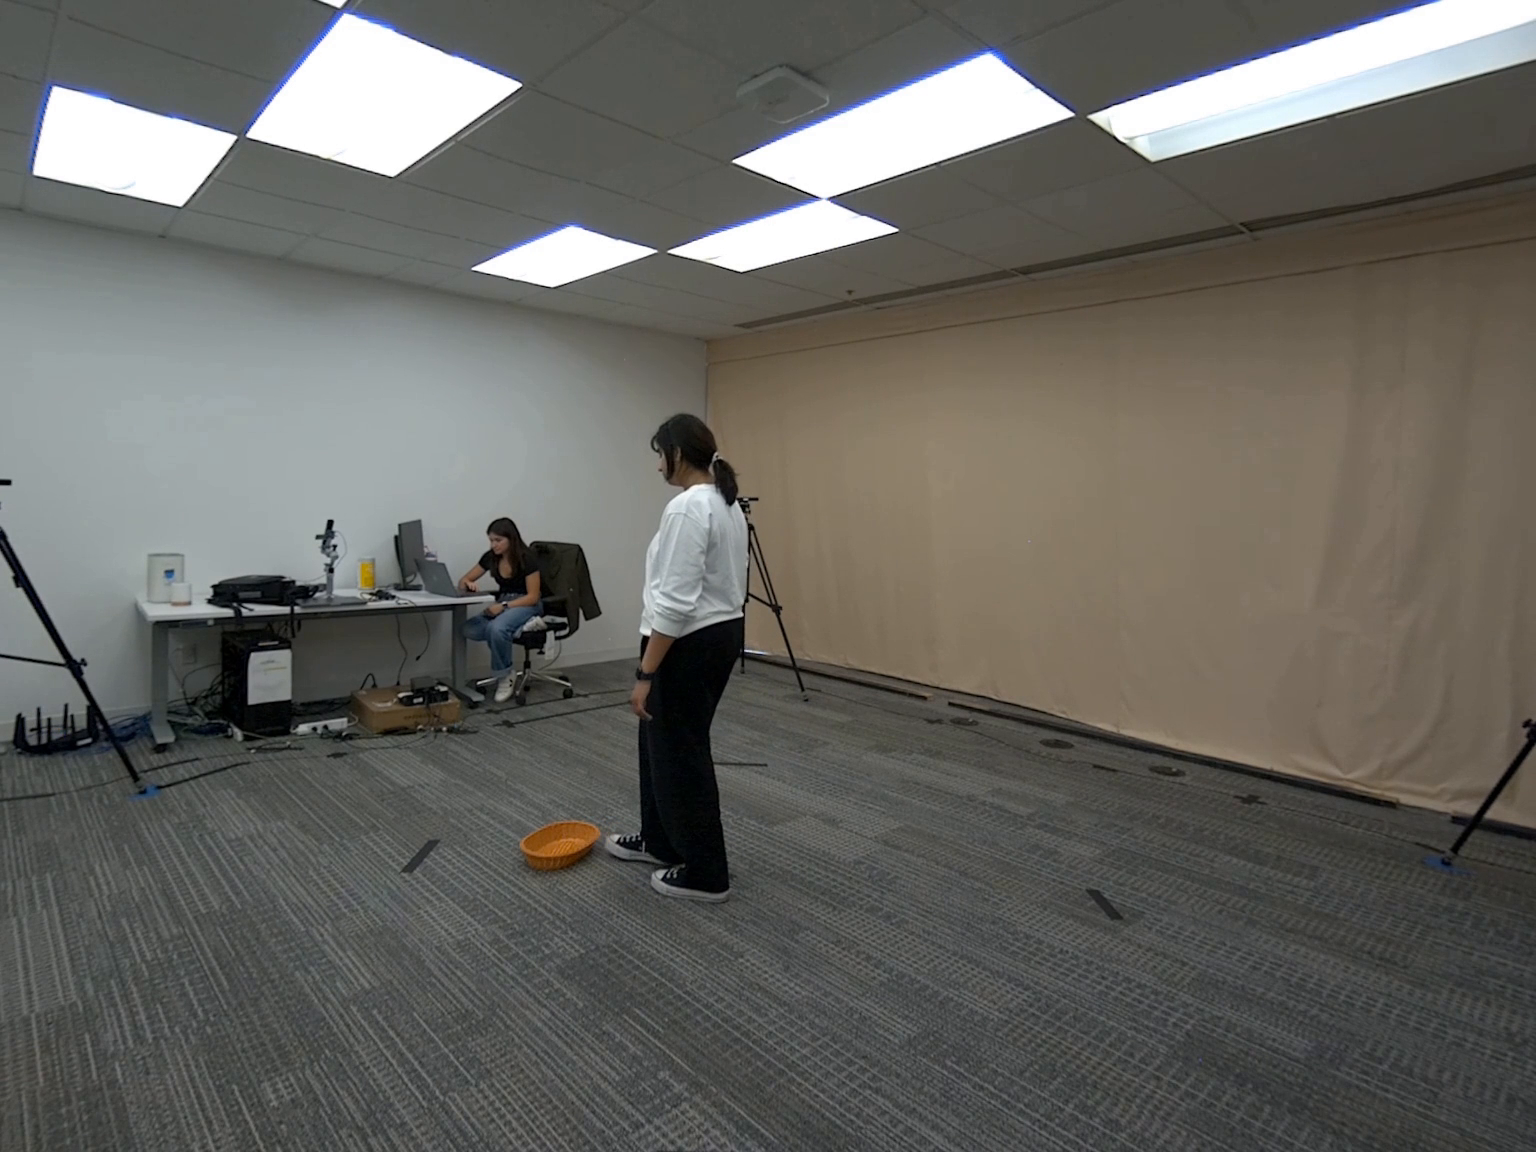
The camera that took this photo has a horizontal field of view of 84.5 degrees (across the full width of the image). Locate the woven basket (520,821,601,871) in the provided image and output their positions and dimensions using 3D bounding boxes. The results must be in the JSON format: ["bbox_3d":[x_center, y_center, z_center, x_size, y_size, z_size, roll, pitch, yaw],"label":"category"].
[{"bbox_3d":[-0.801,1.040,3.245,0.257,0.073,0.344,4,6,25],"label":"woven basket"}]
